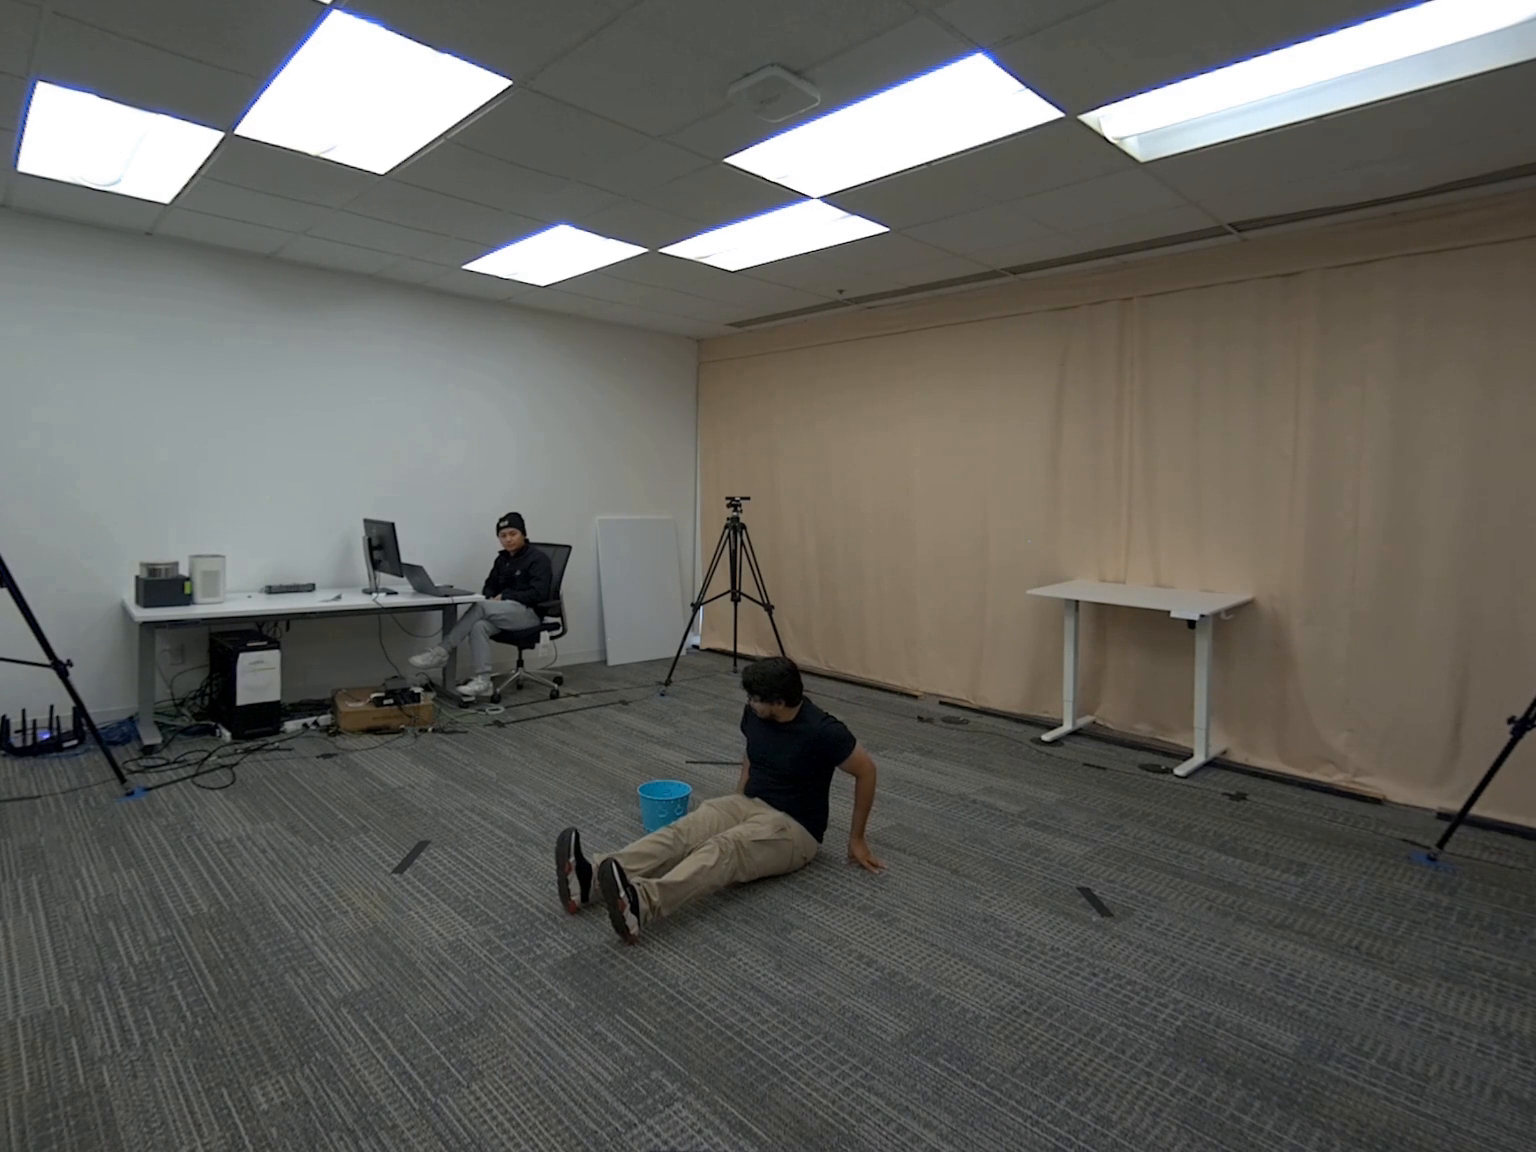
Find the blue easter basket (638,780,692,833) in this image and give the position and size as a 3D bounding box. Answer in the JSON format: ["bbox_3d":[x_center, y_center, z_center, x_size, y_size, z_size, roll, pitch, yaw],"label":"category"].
[{"bbox_3d":[-0.445,0.971,3.587,0.243,0.155,0.244,2,4,-2],"label":"blue easter basket"}]
